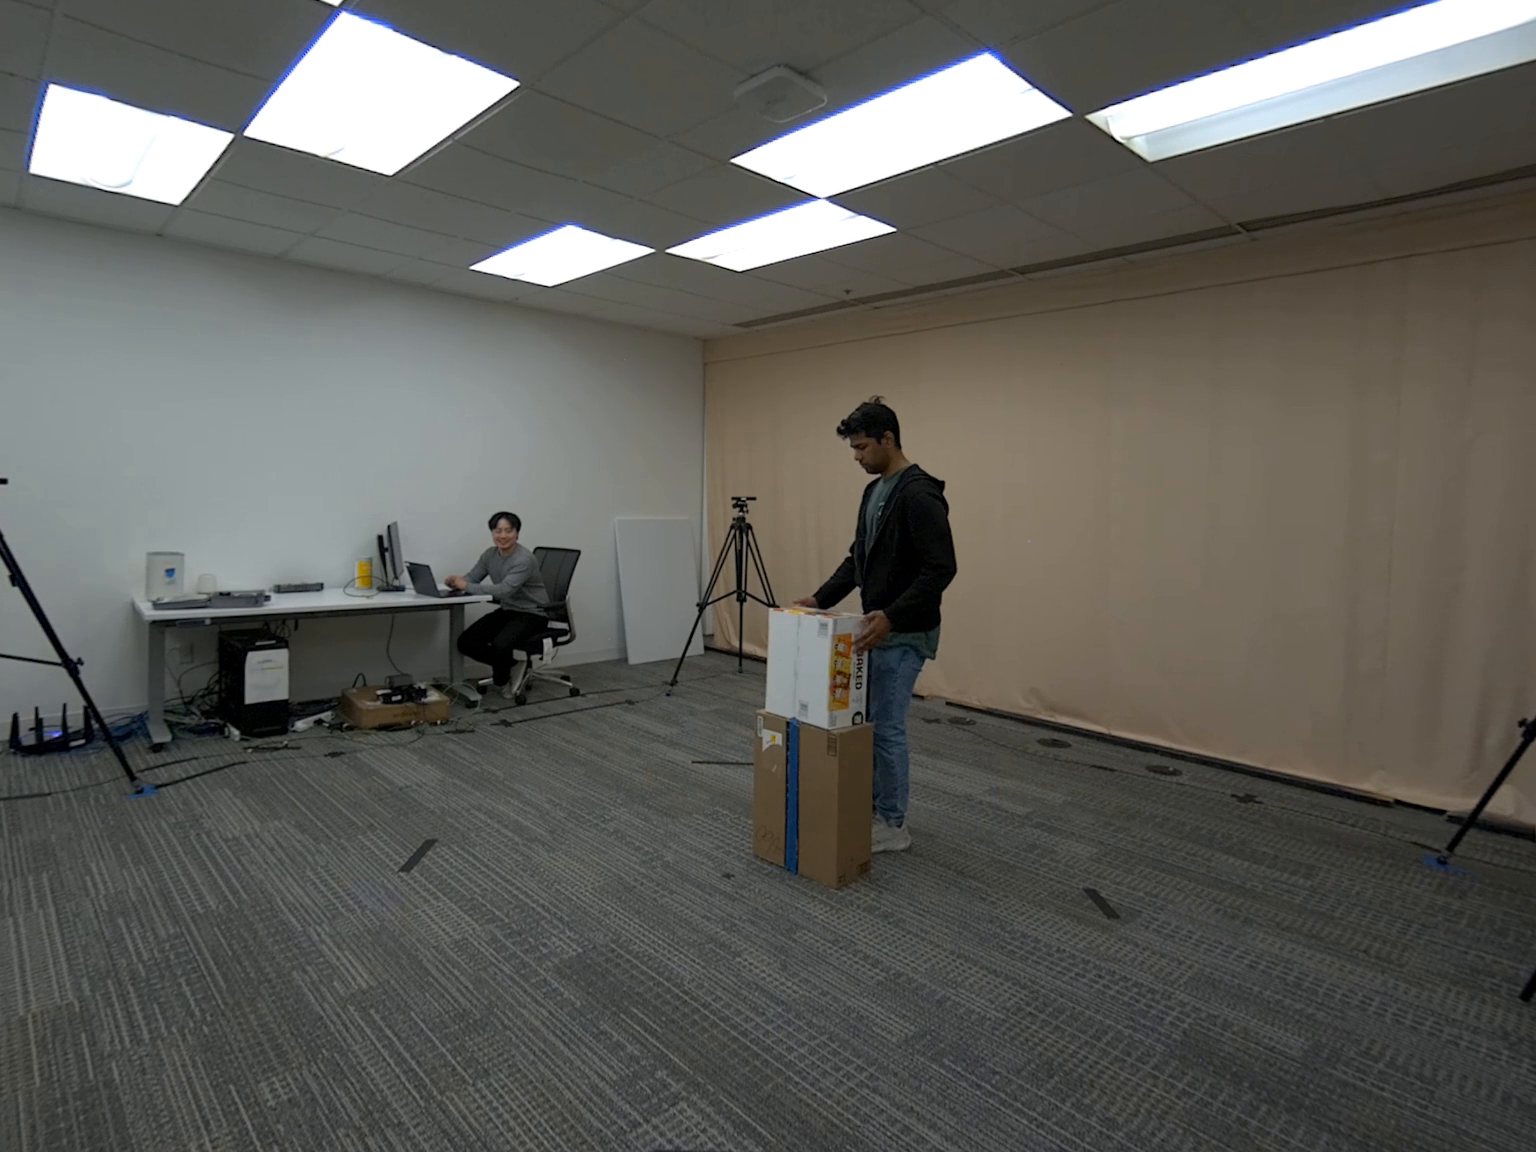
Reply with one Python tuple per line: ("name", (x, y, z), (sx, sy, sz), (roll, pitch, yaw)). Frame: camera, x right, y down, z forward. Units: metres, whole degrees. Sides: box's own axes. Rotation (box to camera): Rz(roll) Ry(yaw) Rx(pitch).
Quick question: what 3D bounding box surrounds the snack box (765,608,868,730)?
("snack box", (0.177, 0.335, 3.196), (0.201, 0.404, 0.349), (1, 3, -41))
